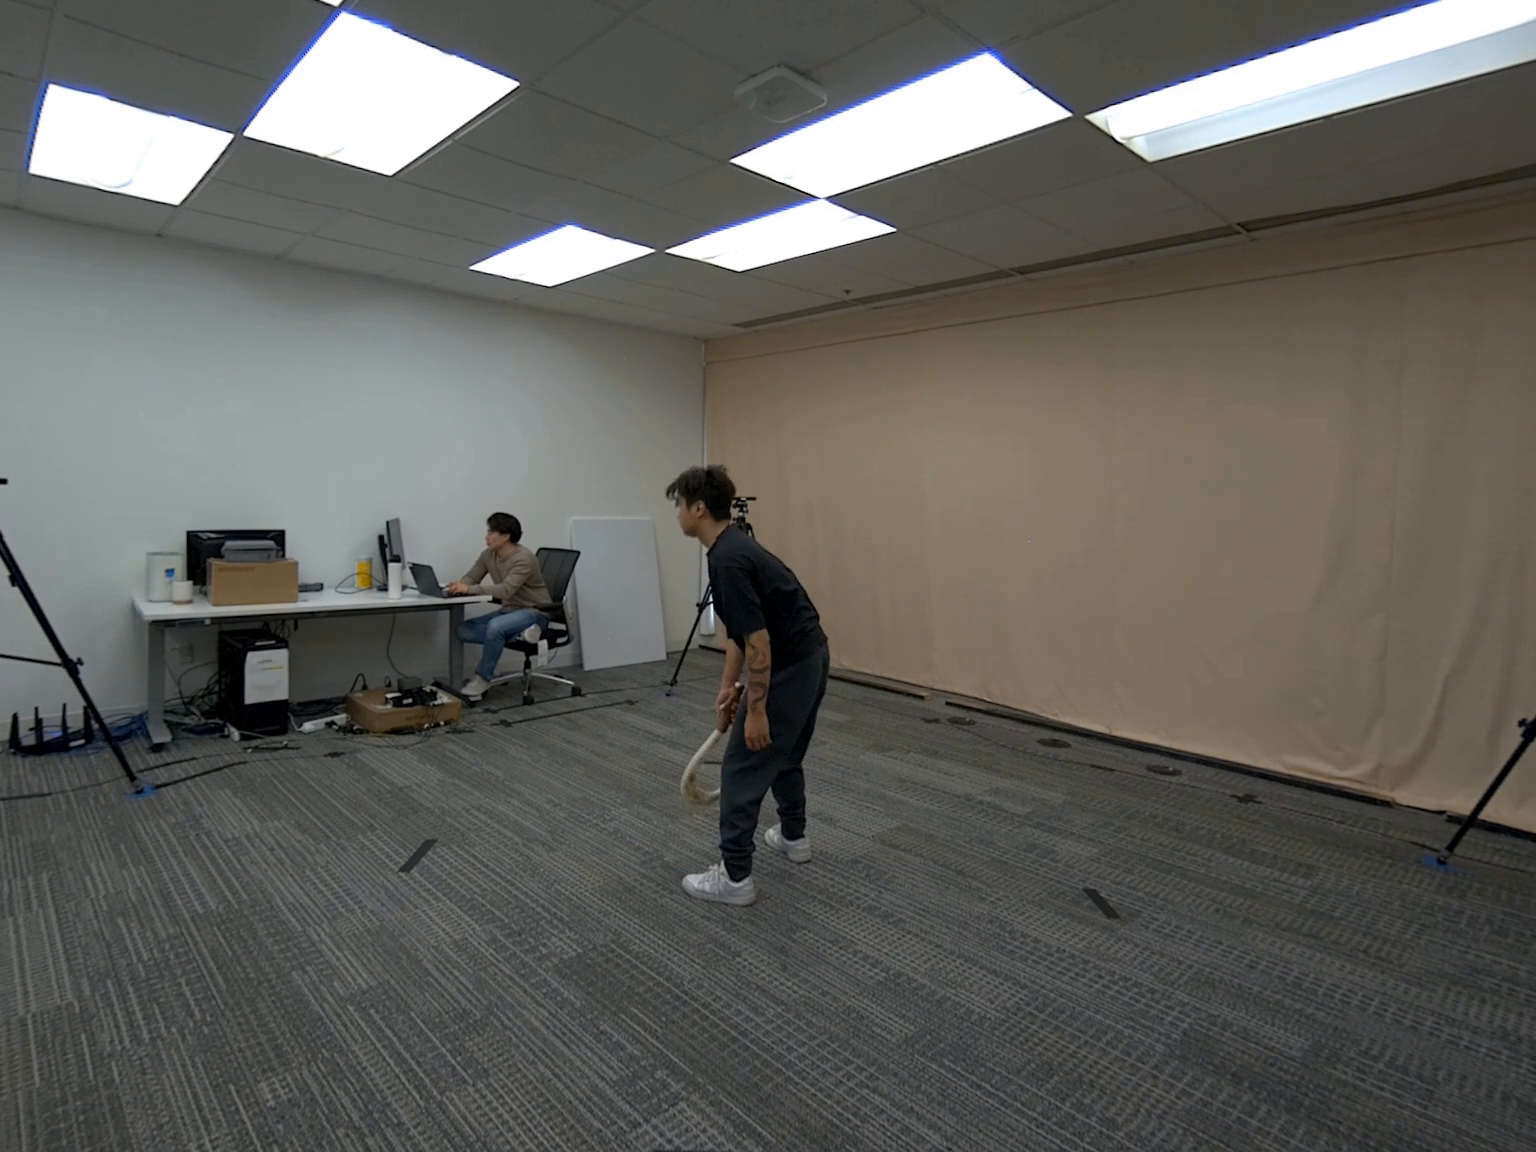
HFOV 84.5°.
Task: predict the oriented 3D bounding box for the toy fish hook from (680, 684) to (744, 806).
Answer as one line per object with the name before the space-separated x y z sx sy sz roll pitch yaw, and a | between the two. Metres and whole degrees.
toy fish hook | -0.193 0.658 3.241 0.218 0.506 0.050 24 2 -33
